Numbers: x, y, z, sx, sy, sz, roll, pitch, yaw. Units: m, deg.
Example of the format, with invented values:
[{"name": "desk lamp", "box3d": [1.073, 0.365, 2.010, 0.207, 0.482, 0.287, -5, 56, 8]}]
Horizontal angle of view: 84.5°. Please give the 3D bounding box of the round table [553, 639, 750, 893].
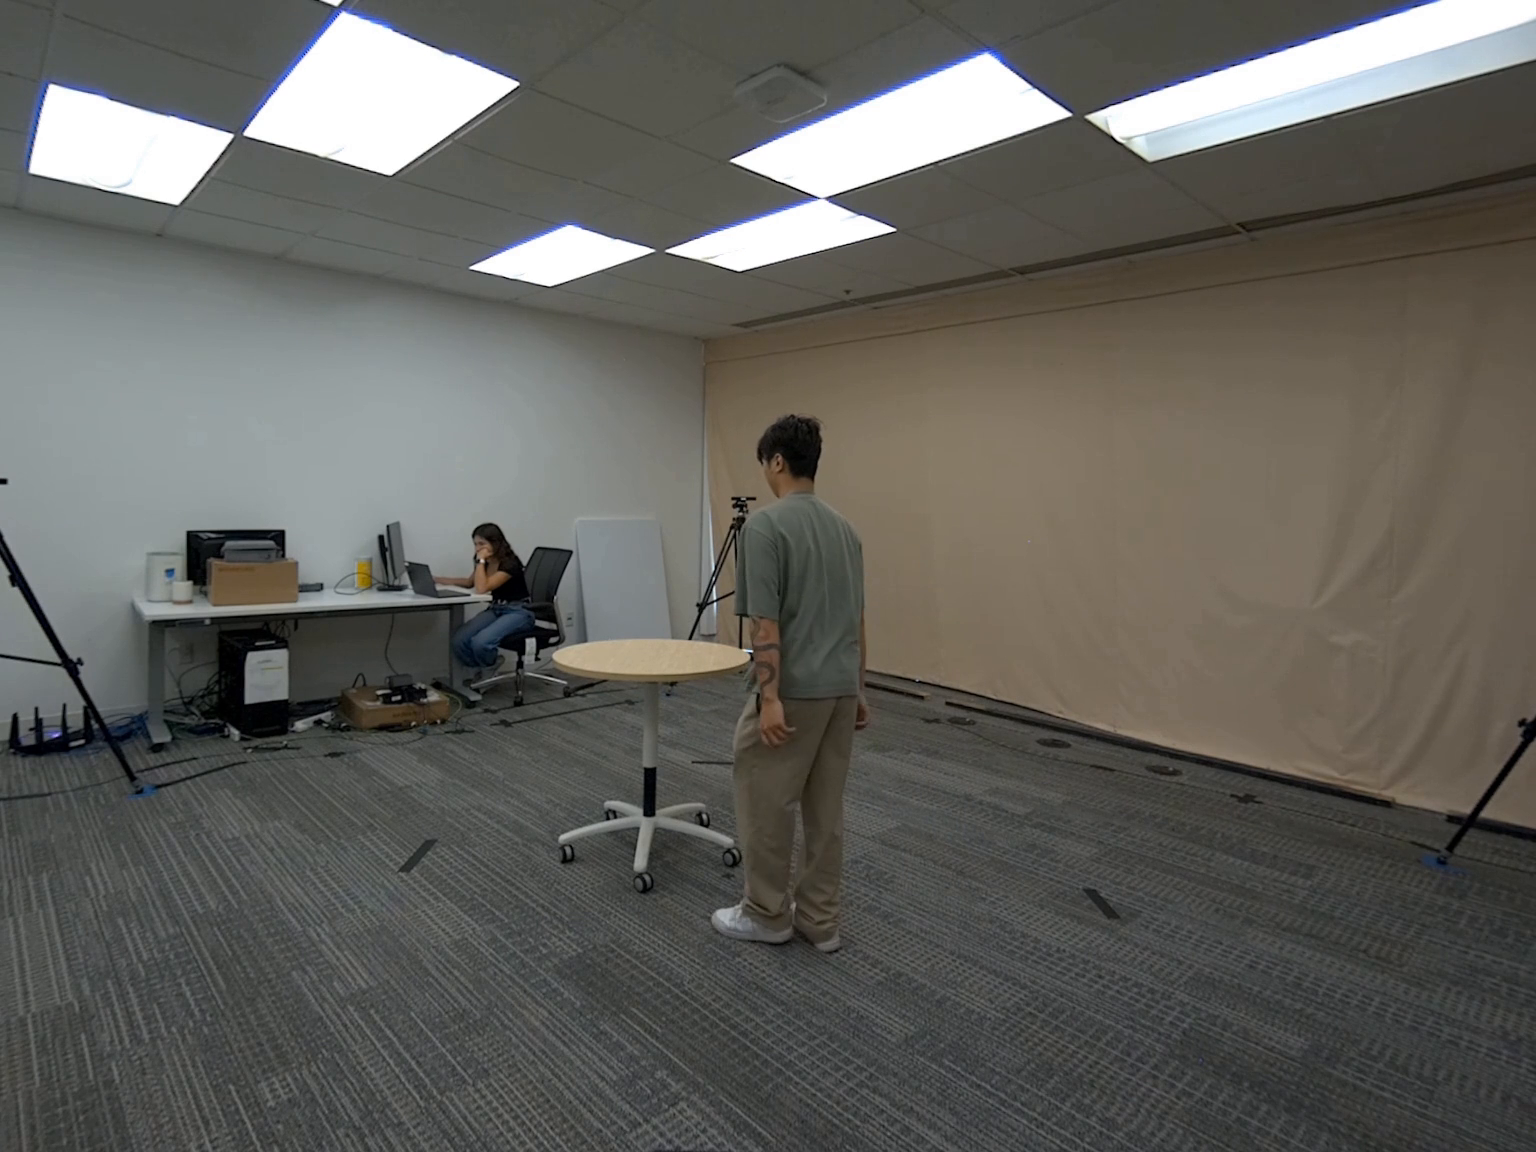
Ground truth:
[{"name": "round table", "box3d": [-0.453, 0.692, 3.302, 0.784, 0.785, 0.787, 1, 4, -1]}]
